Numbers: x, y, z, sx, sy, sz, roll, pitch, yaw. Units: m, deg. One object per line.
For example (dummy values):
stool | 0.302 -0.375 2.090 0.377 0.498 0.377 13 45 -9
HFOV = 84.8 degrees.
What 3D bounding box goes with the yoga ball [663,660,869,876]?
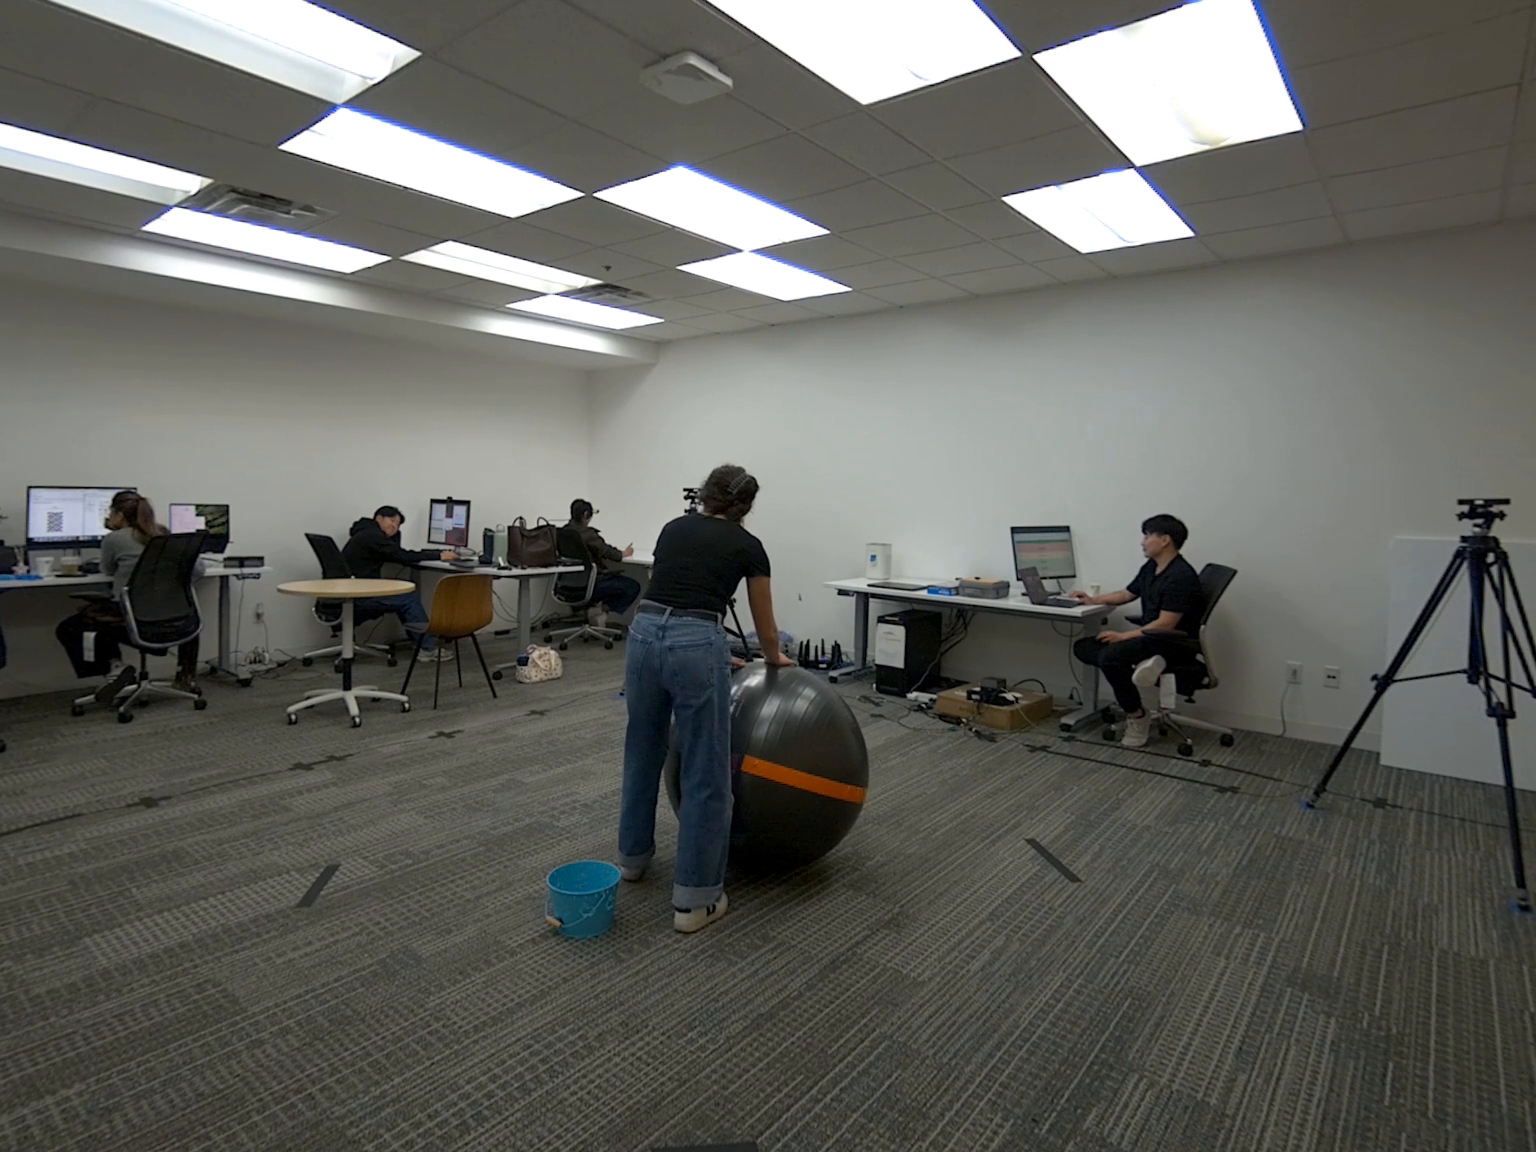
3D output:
yoga ball | -0.018 0.700 3.169 0.757 0.756 0.762 1 4 -2
